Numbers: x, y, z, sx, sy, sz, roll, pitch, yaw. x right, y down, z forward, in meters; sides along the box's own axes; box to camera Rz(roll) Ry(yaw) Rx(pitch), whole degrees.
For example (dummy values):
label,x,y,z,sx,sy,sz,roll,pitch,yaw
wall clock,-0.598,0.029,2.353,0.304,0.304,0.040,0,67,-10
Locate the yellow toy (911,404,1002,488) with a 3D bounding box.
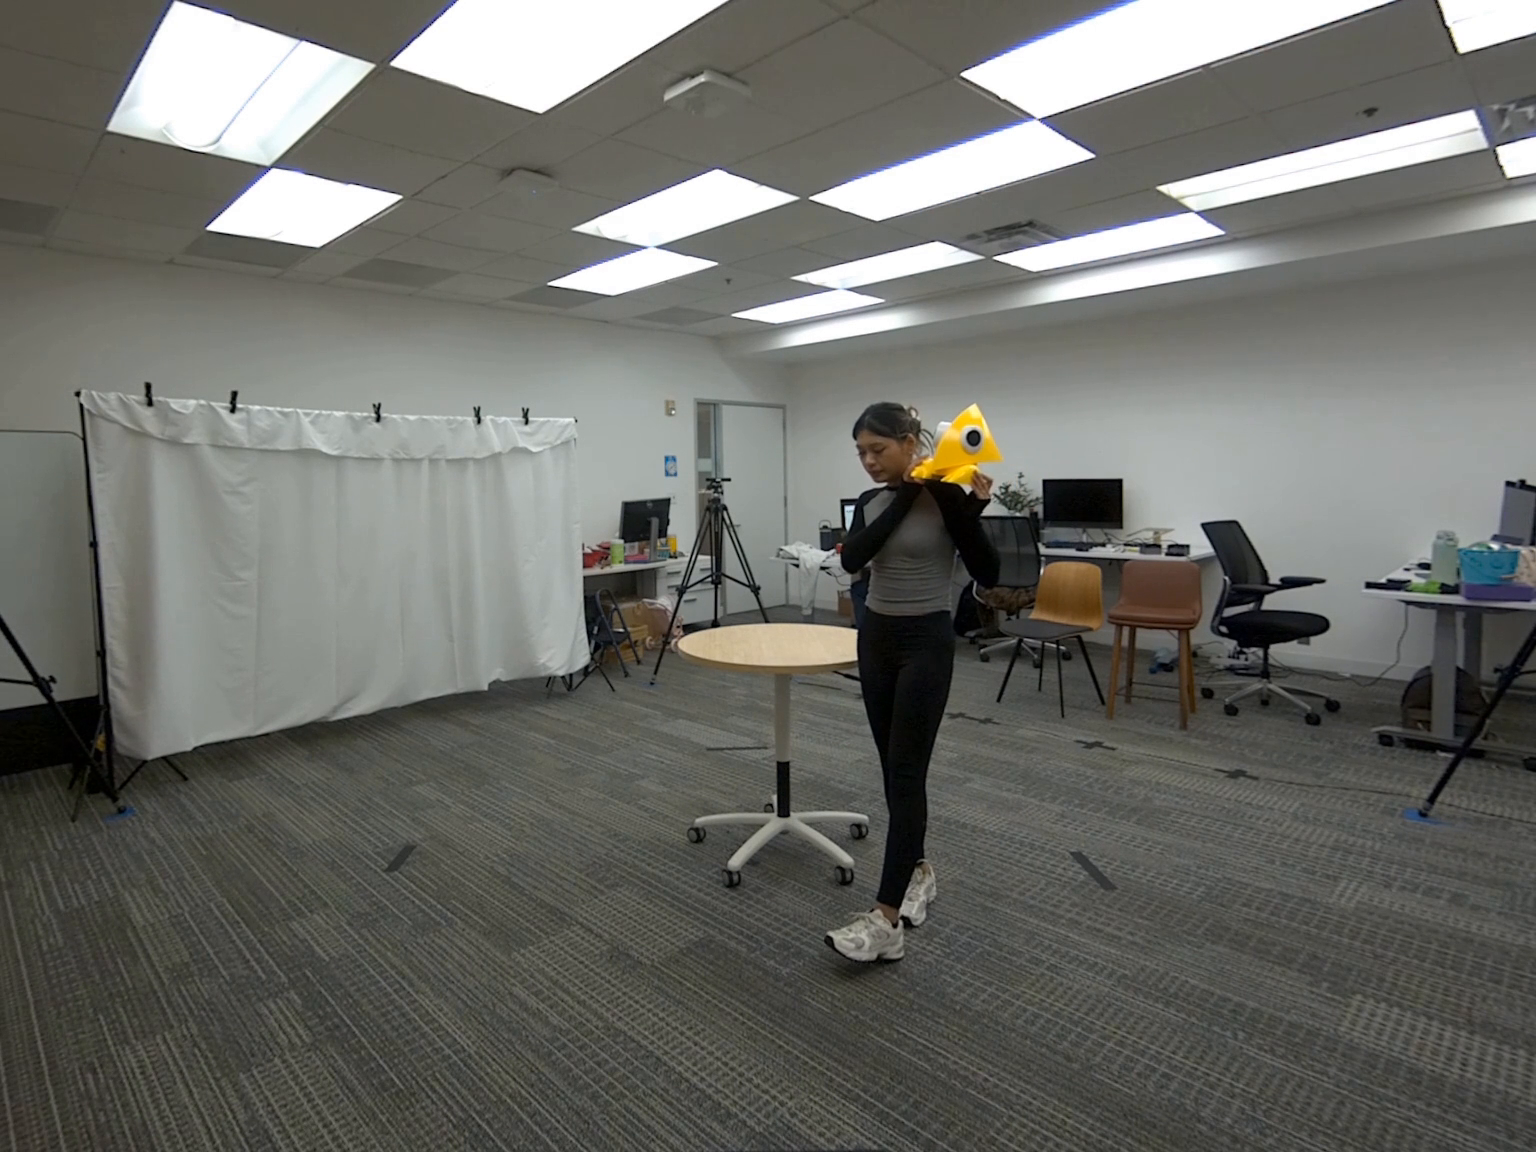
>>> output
label,x,y,z,sx,sy,sz,roll,pitch,yaw
yellow toy,0.541,-0.385,2.444,0.187,0.229,0.212,2,12,-41
